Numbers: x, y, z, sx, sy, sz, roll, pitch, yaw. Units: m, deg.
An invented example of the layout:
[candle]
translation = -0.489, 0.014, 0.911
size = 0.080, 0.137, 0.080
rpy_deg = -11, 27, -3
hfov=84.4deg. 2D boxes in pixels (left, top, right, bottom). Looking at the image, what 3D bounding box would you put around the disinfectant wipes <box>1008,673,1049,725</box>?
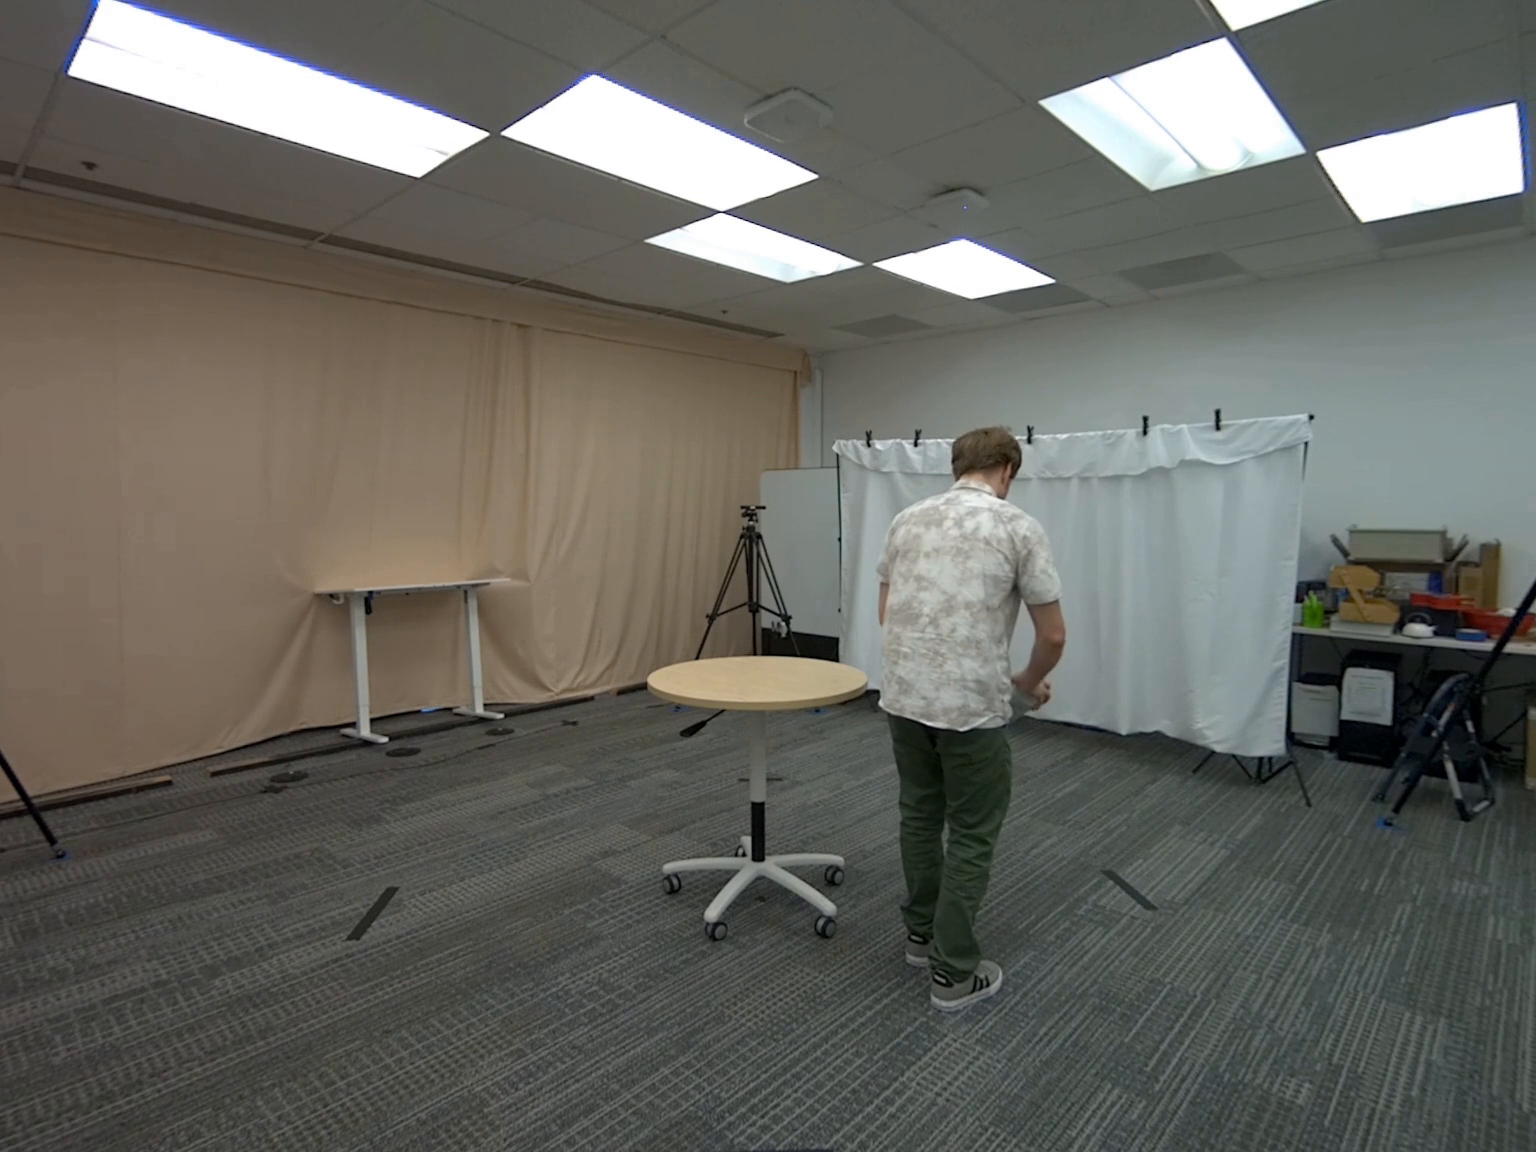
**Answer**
[disinfectant wipes]
translation = 0.796, 0.396, 2.724
size = 0.118, 0.119, 0.215
rpy_deg = 0, -21, -1
